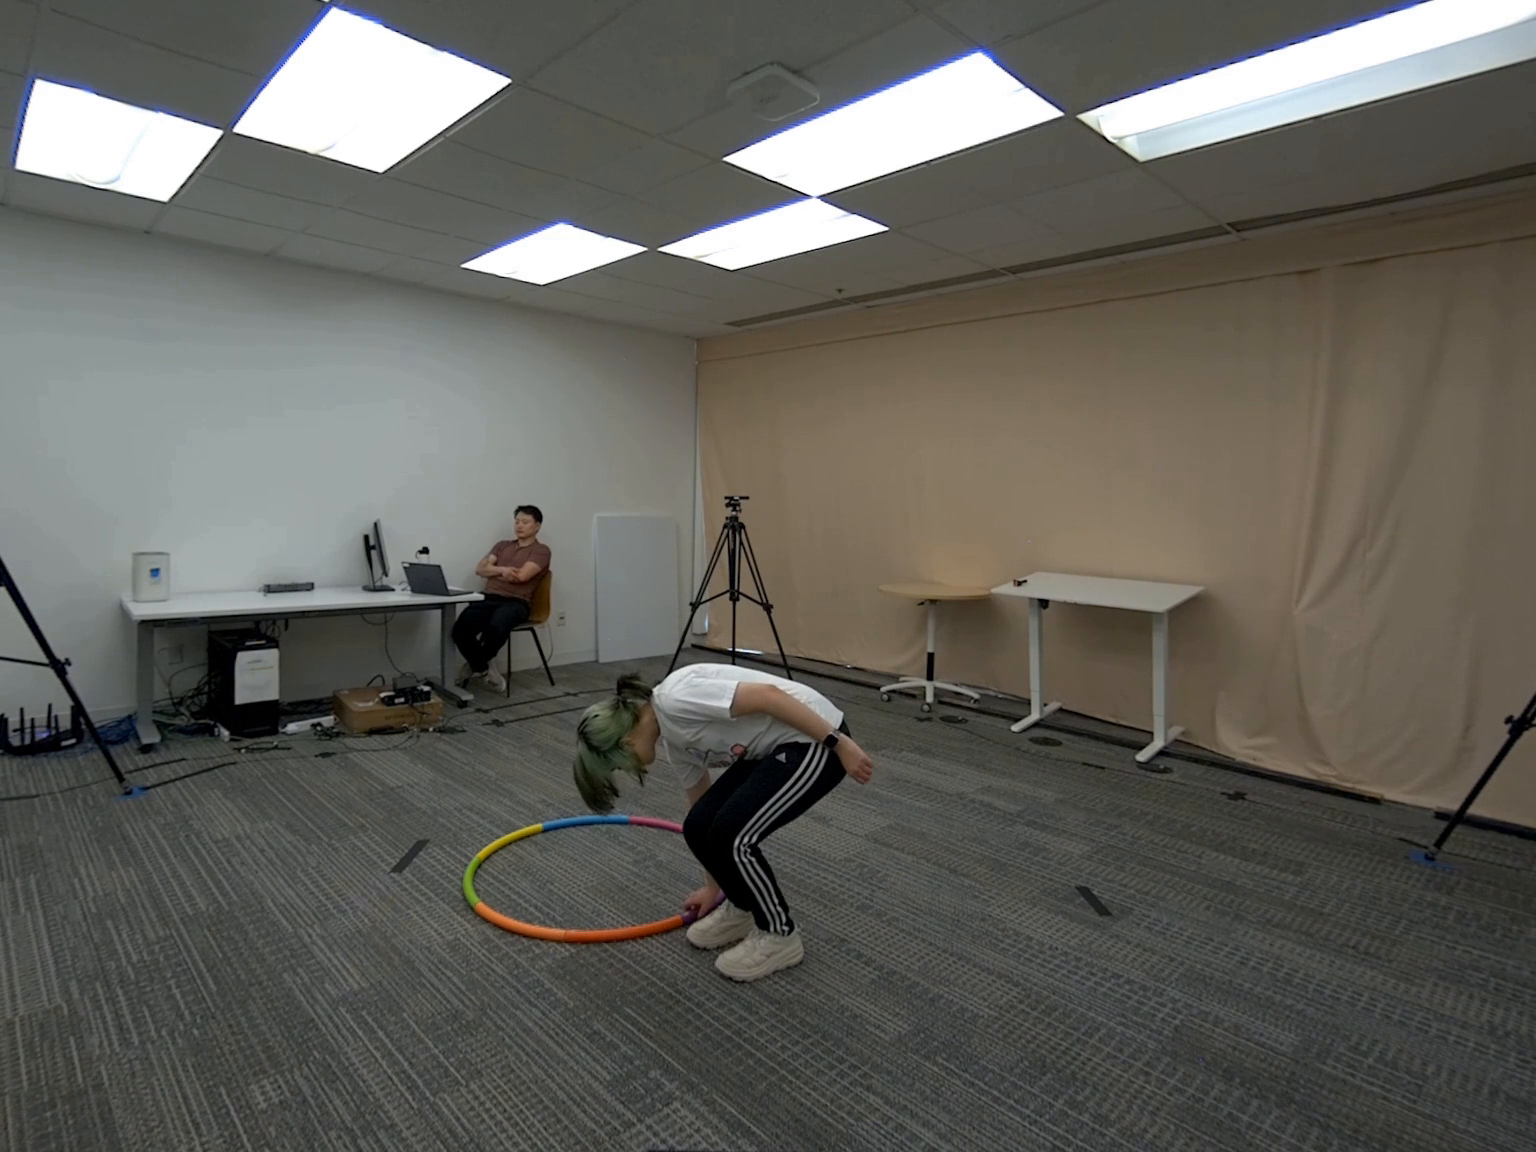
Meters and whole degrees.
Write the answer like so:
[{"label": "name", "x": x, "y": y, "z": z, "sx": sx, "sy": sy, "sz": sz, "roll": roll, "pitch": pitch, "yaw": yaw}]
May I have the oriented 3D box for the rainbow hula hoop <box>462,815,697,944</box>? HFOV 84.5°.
[{"label": "rainbow hula hoop", "x": -0.609, "y": 1.065, "z": 3.096, "sx": 0.978, "sy": 0.035, "sz": 0.982, "roll": 1, "pitch": 5, "yaw": -1}]
